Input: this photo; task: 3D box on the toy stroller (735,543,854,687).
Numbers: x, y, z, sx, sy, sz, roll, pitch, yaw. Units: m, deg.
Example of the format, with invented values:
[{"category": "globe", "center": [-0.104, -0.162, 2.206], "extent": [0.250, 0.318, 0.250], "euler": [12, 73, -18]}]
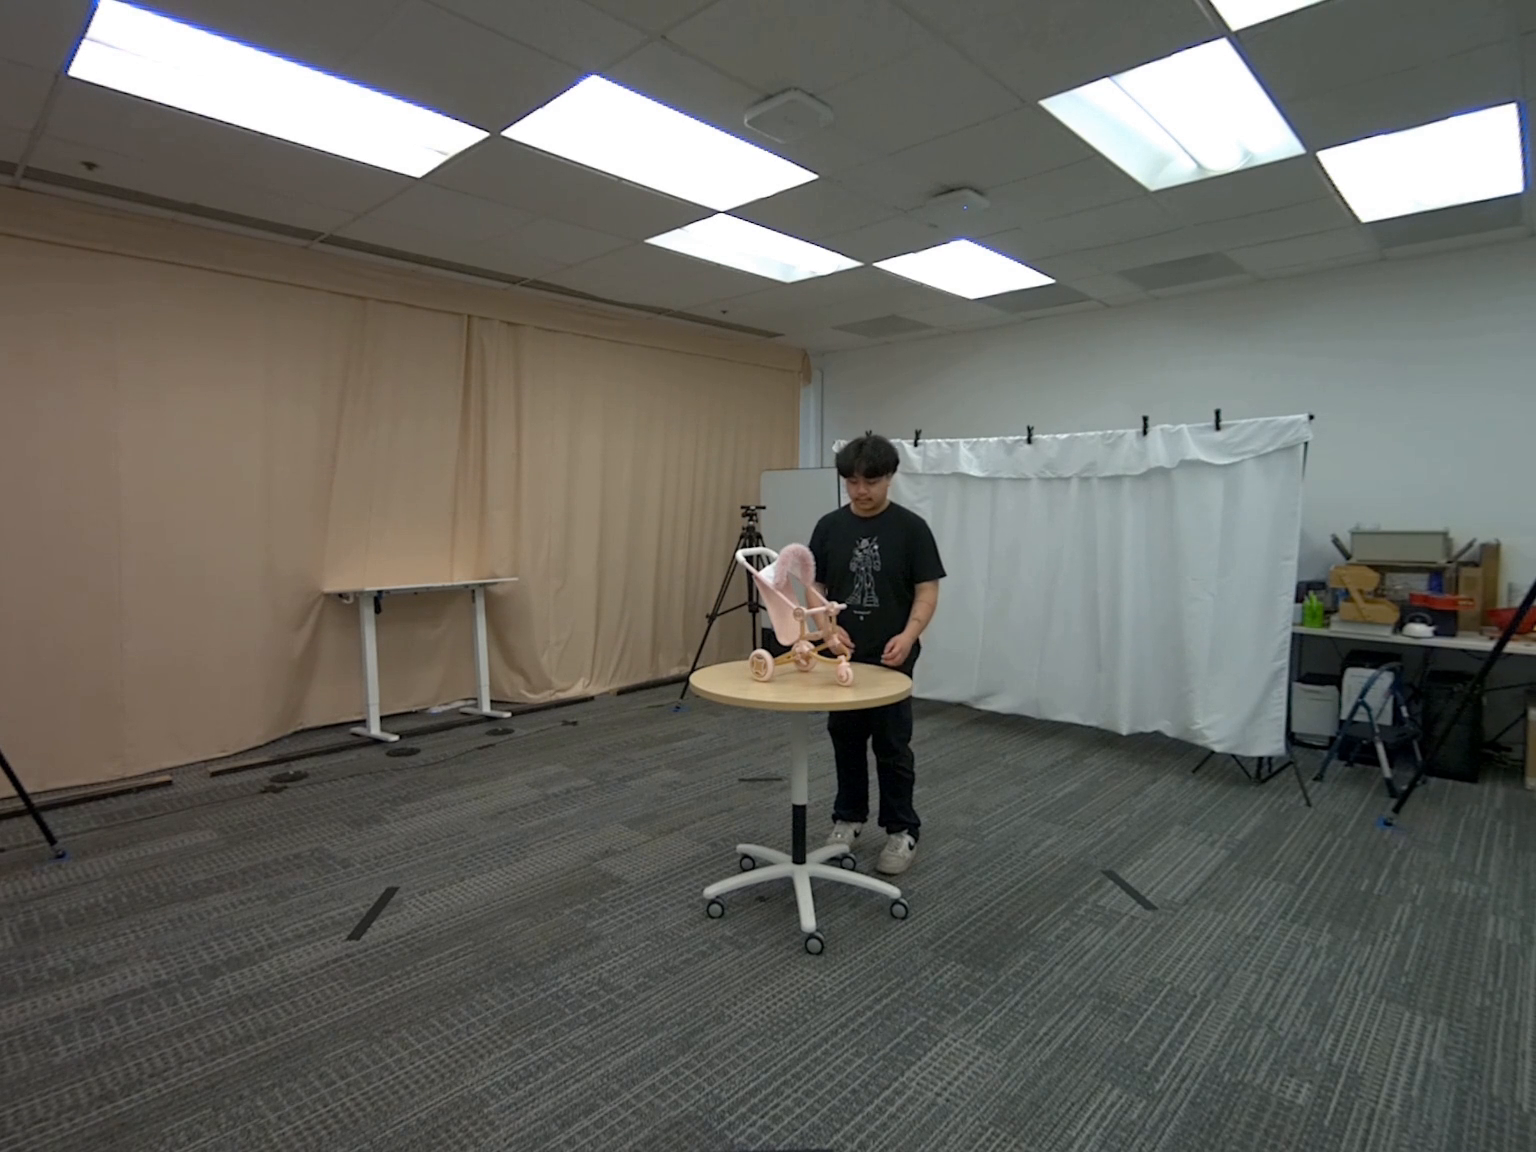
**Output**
[{"category": "toy stroller", "center": [0.110, 0.130, 2.899], "extent": [0.273, 0.538, 0.350], "euler": [-3, -10, -46]}]
